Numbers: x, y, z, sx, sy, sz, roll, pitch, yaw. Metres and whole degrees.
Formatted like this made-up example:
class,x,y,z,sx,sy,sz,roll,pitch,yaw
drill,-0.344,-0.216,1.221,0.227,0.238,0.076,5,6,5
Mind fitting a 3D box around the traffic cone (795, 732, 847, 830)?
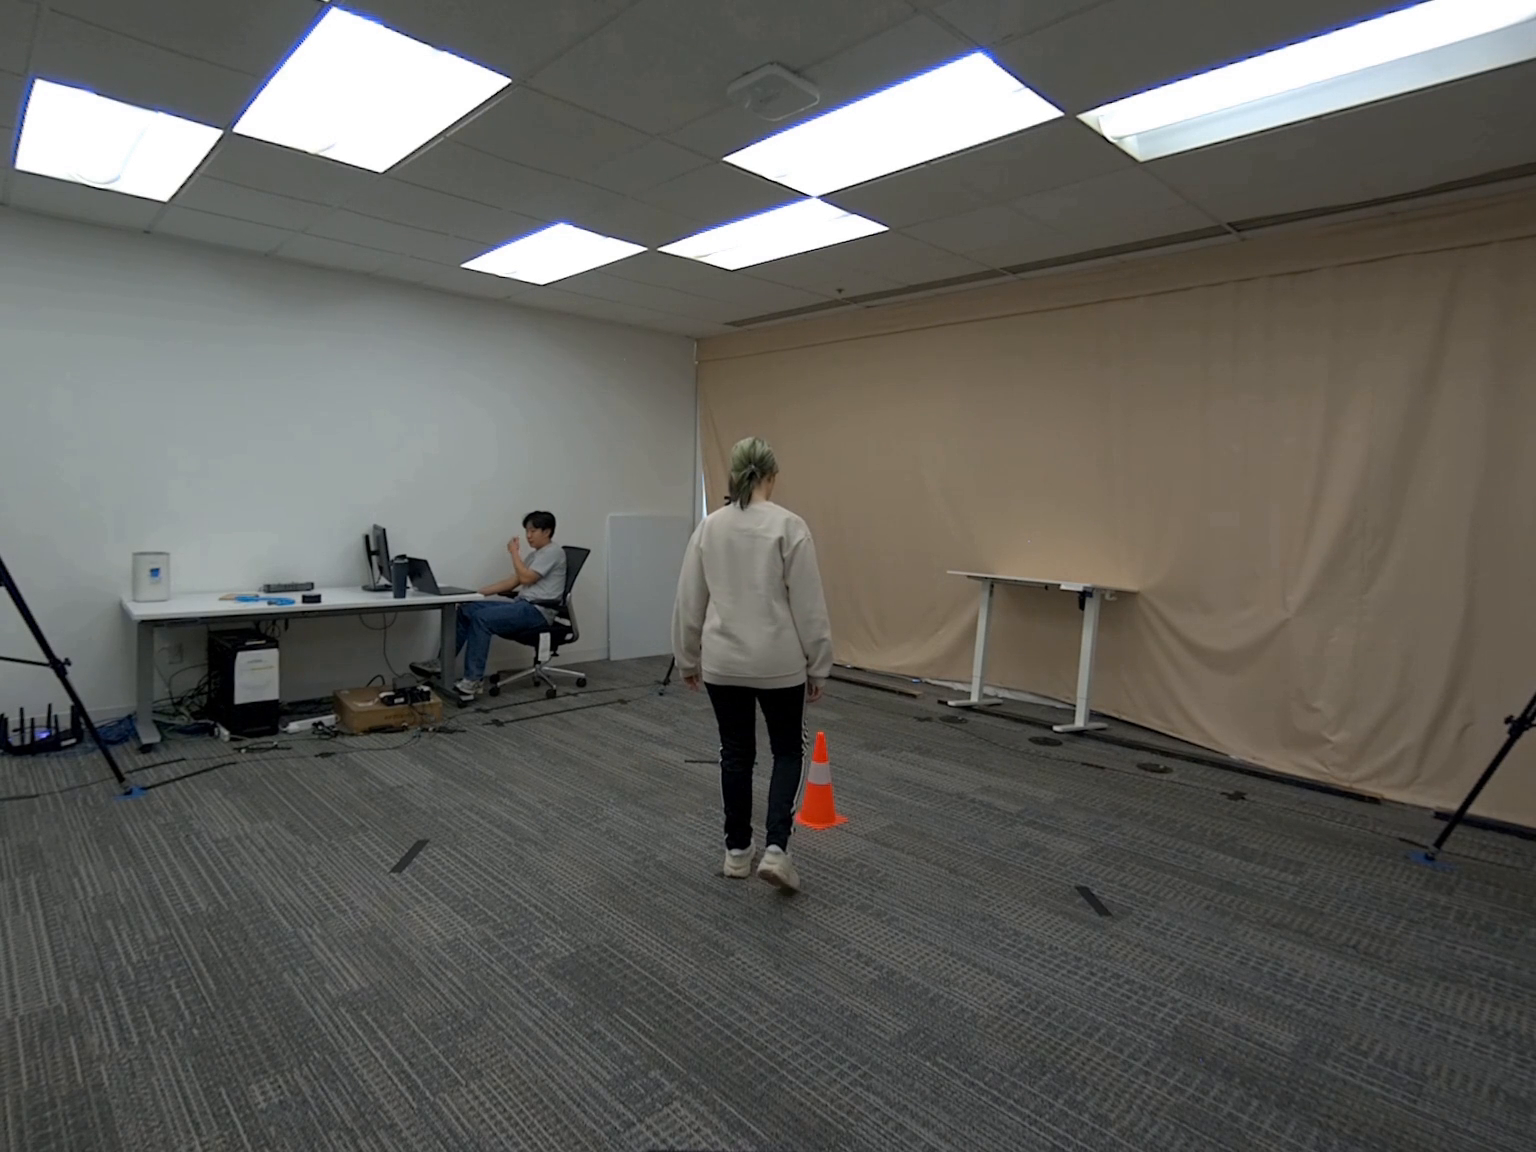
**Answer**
class,x,y,z,sx,sy,sz,roll,pitch,yaw
traffic cone,0.218,0.877,3.680,0.199,0.382,0.210,-3,6,-43
